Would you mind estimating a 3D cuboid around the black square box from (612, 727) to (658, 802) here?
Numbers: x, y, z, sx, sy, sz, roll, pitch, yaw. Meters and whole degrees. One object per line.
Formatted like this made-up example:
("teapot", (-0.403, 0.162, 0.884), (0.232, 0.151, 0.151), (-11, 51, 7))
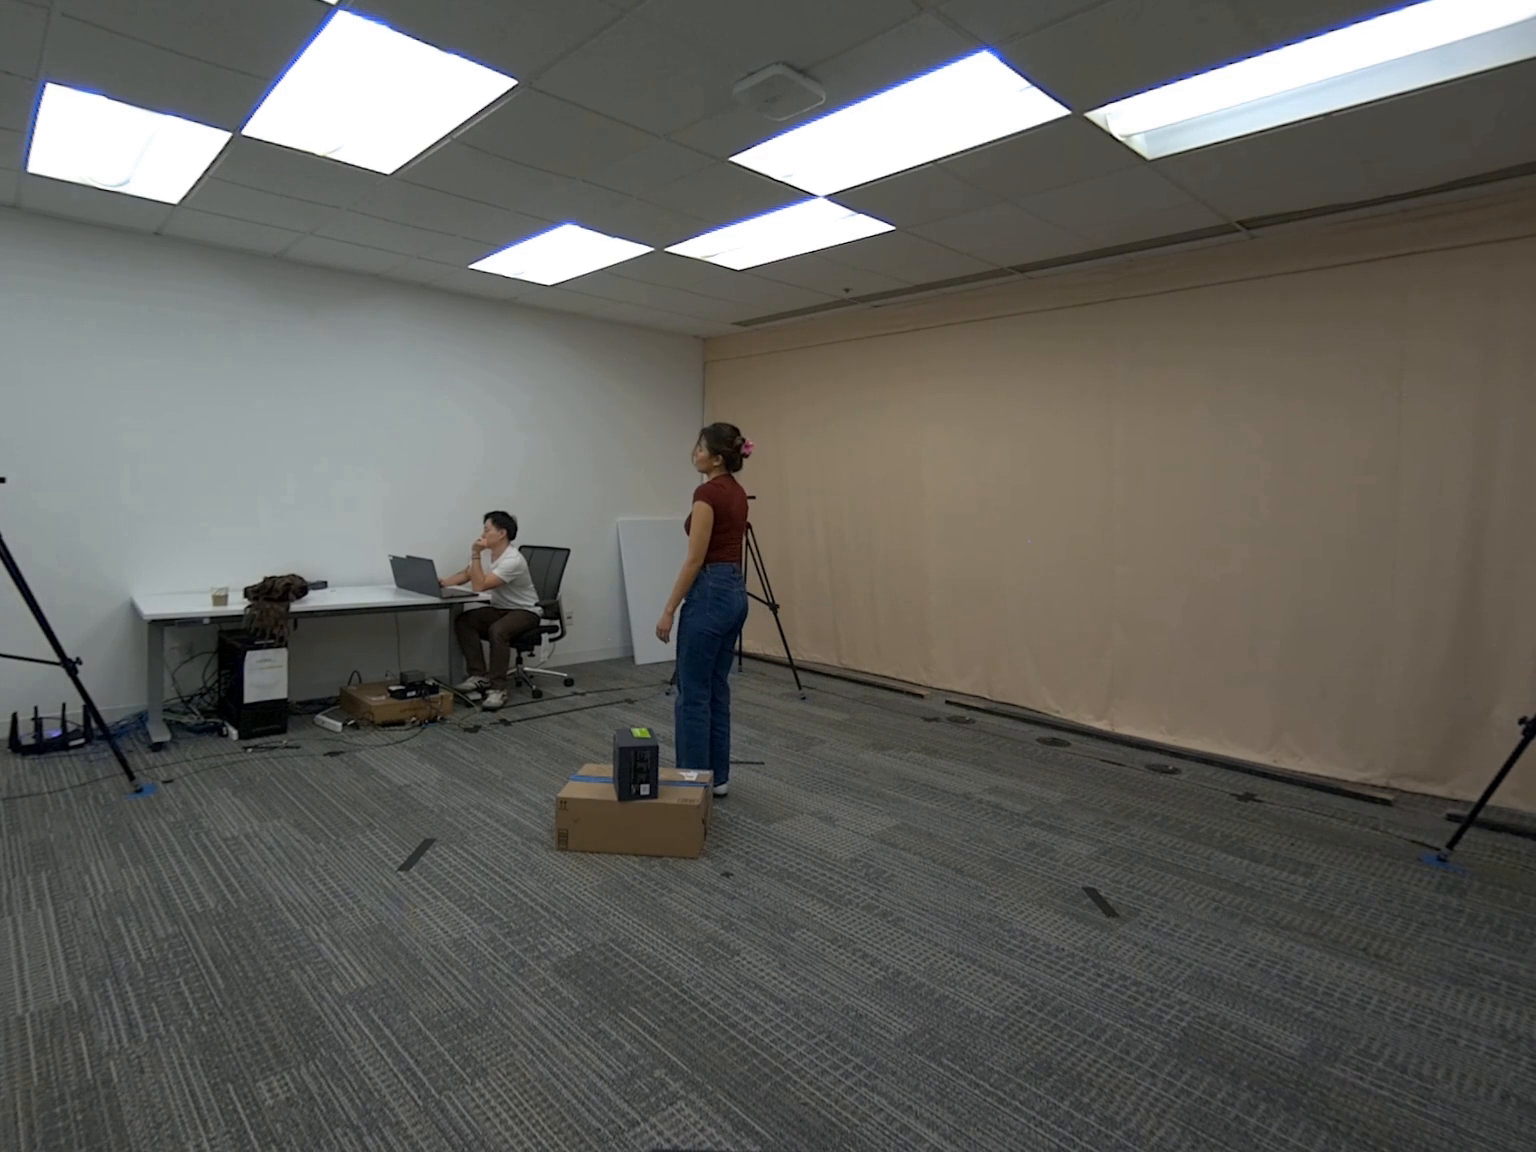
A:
("black square box", (-0.530, 0.739, 3.342), (0.154, 0.216, 0.231), (1, 5, -13))
